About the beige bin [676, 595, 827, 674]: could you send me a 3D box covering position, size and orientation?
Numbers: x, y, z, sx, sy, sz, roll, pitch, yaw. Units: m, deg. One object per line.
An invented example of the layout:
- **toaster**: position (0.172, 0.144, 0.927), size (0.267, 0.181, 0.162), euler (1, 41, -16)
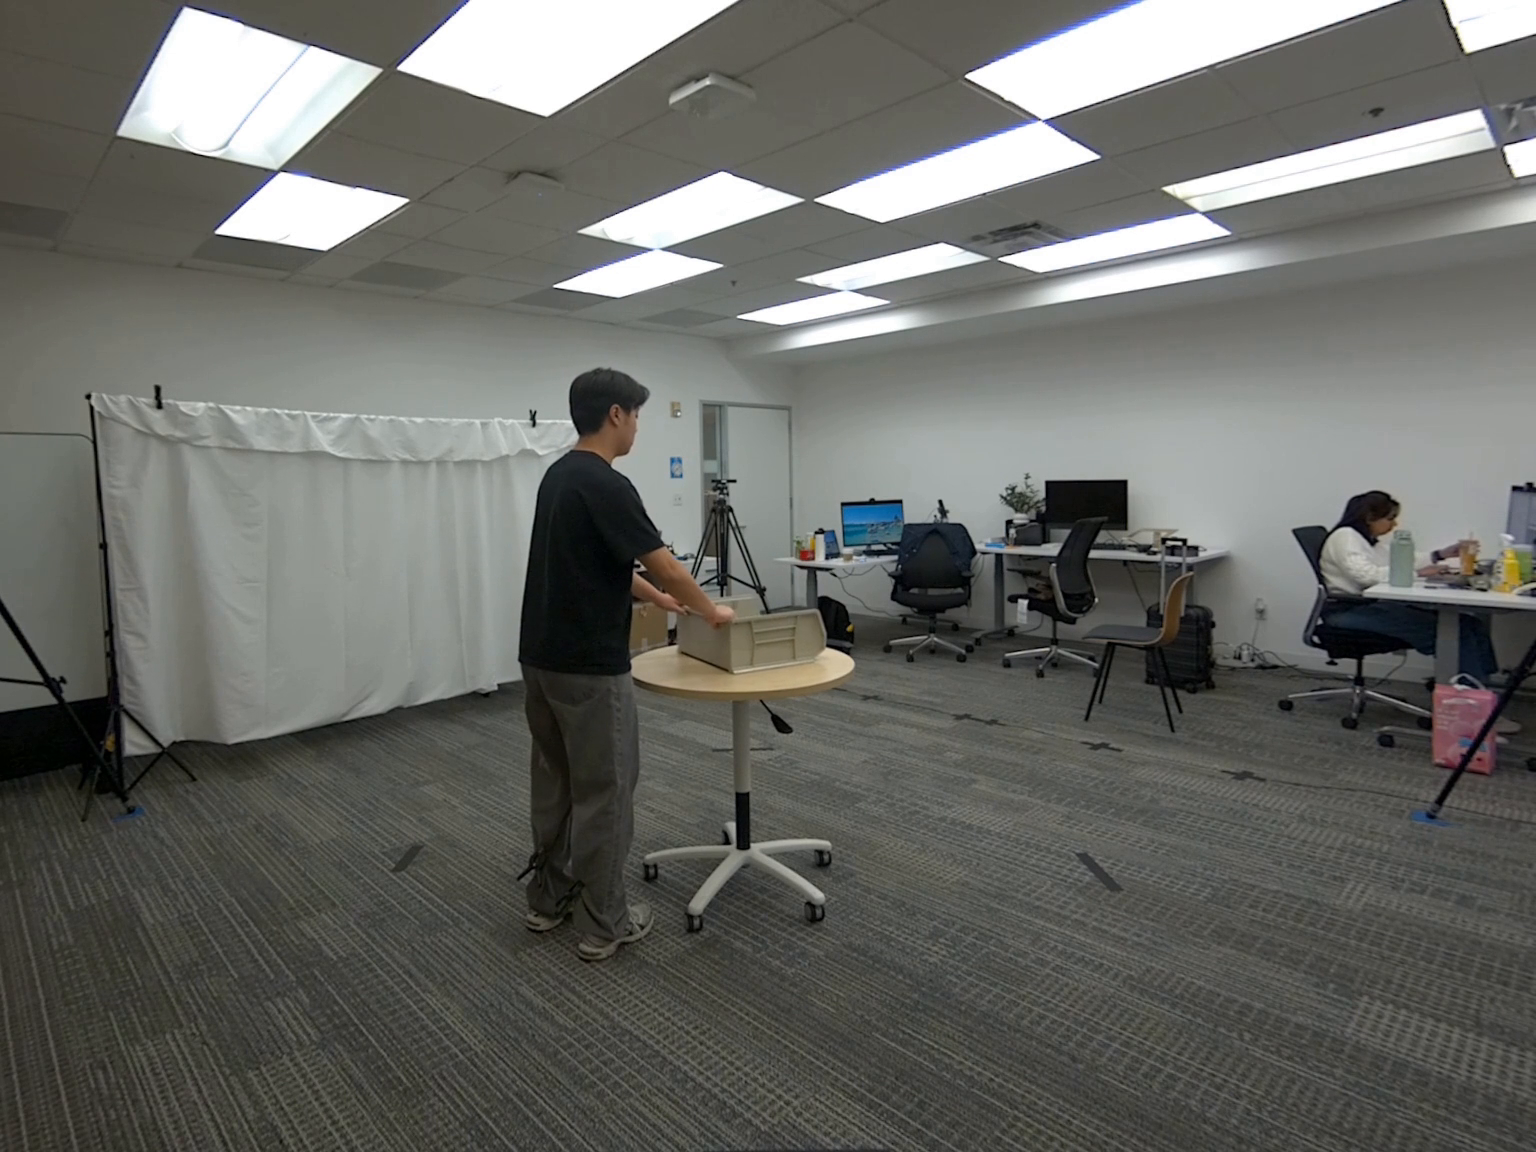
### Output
- **beige bin**: position (-0.075, 0.192, 2.963), size (0.369, 0.188, 0.434), euler (-7, 9, -30)
